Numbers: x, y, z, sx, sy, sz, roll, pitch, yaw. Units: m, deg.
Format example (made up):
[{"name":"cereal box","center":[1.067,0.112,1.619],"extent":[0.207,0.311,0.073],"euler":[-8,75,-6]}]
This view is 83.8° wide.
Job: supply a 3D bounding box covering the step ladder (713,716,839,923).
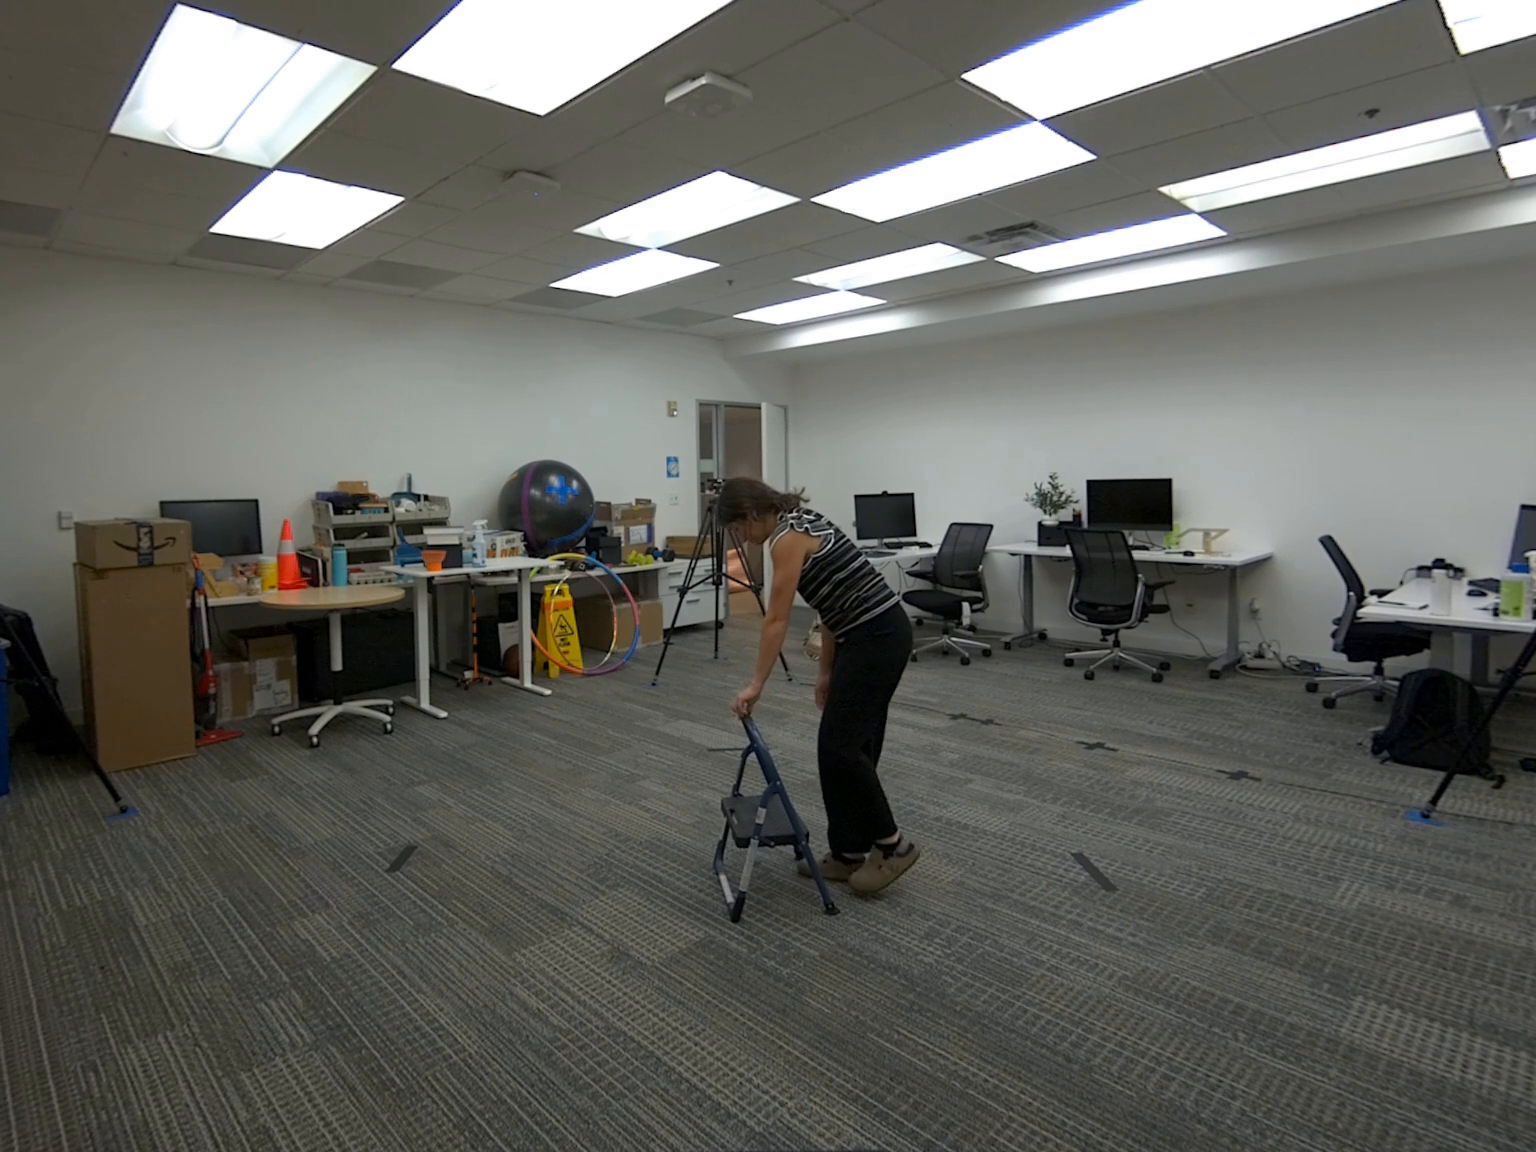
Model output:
[{"name":"step ladder","center":[0.008,0.767,2.898],"extent":[0.346,0.604,0.437],"euler":[-1,4,-11]}]
